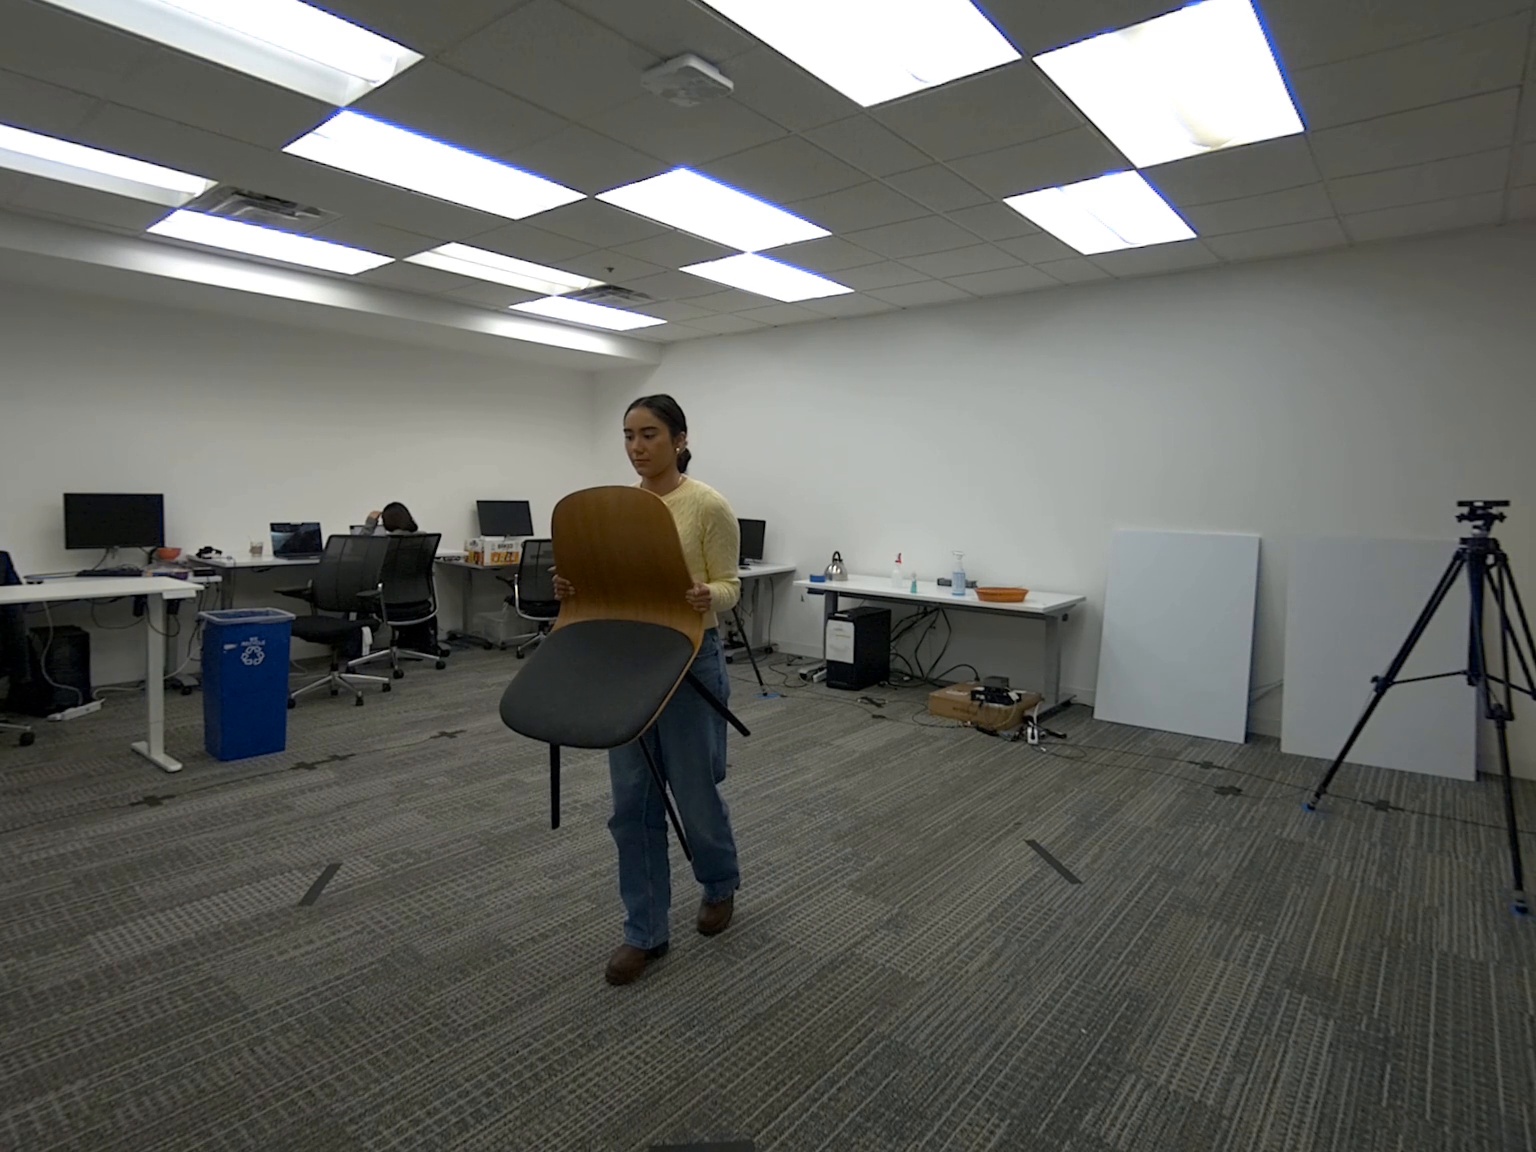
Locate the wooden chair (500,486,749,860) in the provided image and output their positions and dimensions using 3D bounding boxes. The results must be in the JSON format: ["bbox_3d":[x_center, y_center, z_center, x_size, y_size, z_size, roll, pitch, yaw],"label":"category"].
[{"bbox_3d":[-0.432,0.266,2.270,0.490,0.852,0.525,4,32,23],"label":"wooden chair"}]
